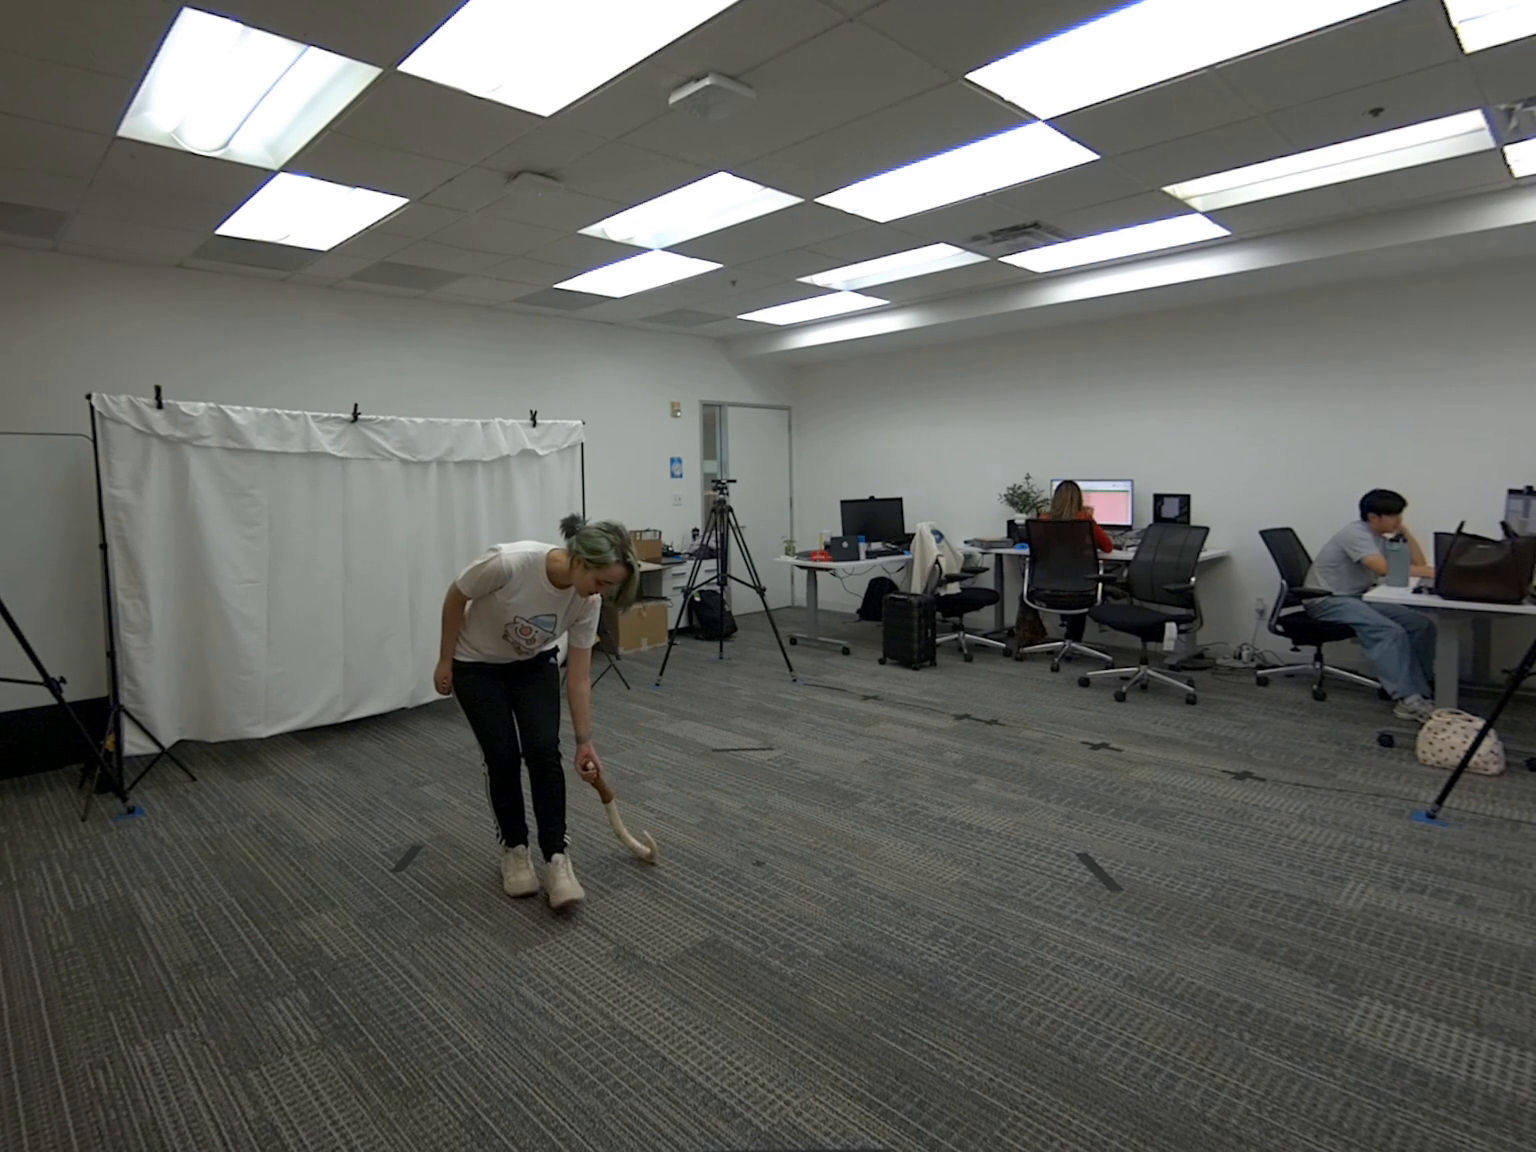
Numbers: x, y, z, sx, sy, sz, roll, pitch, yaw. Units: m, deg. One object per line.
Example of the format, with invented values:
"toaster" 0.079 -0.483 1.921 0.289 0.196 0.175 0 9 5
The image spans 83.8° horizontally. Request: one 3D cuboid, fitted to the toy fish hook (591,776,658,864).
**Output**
"toy fish hook" -0.514 0.843 3.043 0.231 0.491 0.048 7 40 36
